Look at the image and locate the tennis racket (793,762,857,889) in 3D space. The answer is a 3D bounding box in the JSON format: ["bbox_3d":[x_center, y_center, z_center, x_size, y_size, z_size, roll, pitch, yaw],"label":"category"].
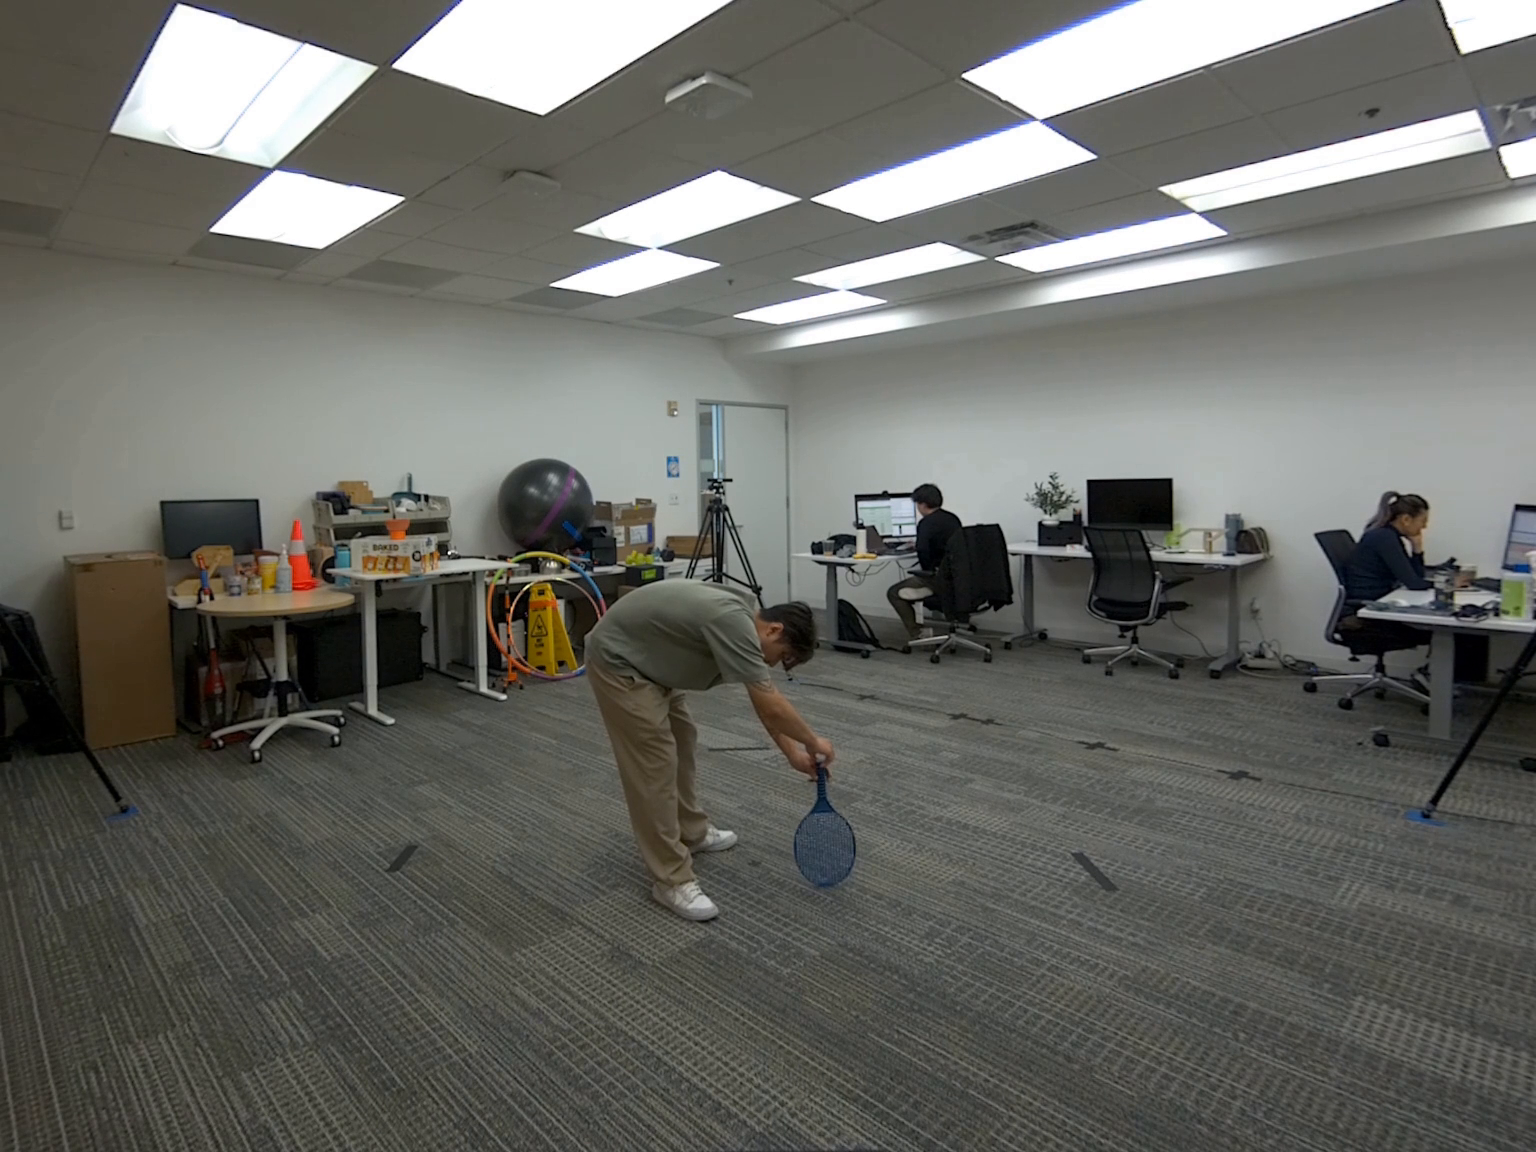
[{"bbox_3d":[0.197,0.847,2.914,0.214,0.432,0.032,-2,2,2],"label":"tennis racket"}]
